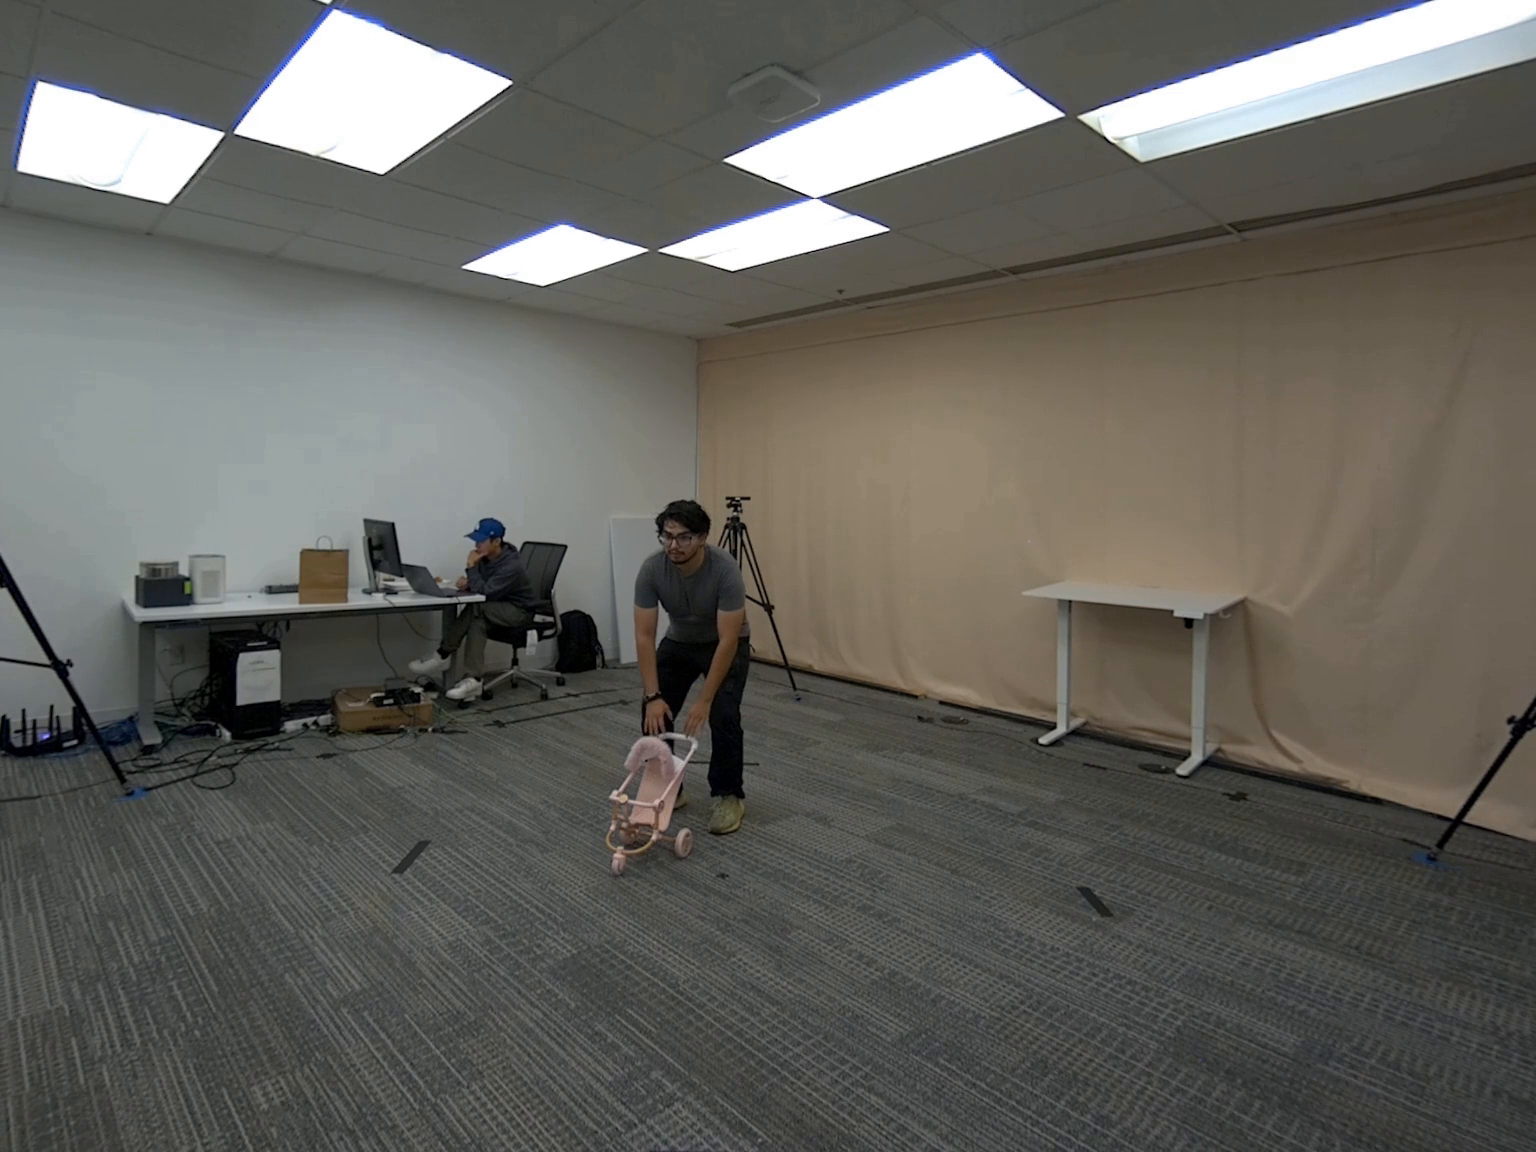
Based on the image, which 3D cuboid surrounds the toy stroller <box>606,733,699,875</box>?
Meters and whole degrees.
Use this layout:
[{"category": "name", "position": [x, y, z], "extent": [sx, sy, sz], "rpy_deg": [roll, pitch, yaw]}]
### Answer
[{"category": "toy stroller", "position": [-0.478, 0.870, 3.250], "extent": [0.287, 0.539, 0.331], "rpy_deg": [2, -13, 30]}]
